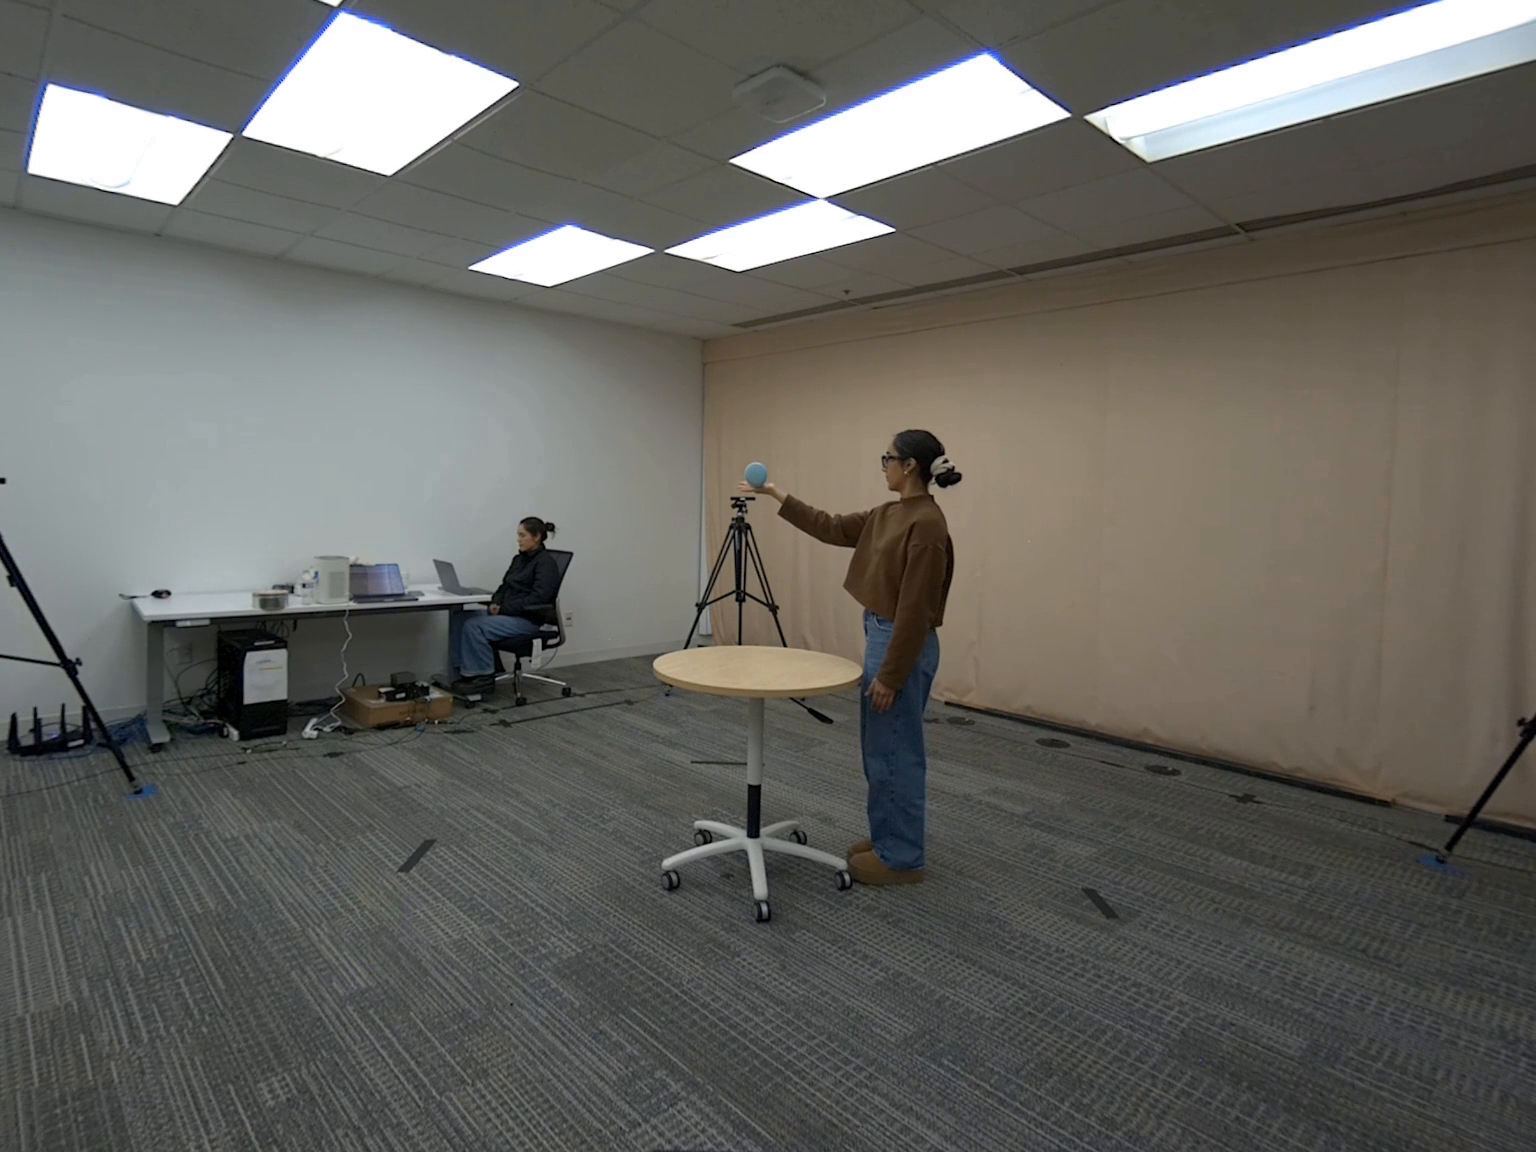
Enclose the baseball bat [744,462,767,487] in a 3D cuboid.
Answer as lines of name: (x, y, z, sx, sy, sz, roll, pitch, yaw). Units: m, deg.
baseball bat: (-0.056, -0.393, 3.374, 0.089, 0.089, 0.543, 1, 6, 2)
